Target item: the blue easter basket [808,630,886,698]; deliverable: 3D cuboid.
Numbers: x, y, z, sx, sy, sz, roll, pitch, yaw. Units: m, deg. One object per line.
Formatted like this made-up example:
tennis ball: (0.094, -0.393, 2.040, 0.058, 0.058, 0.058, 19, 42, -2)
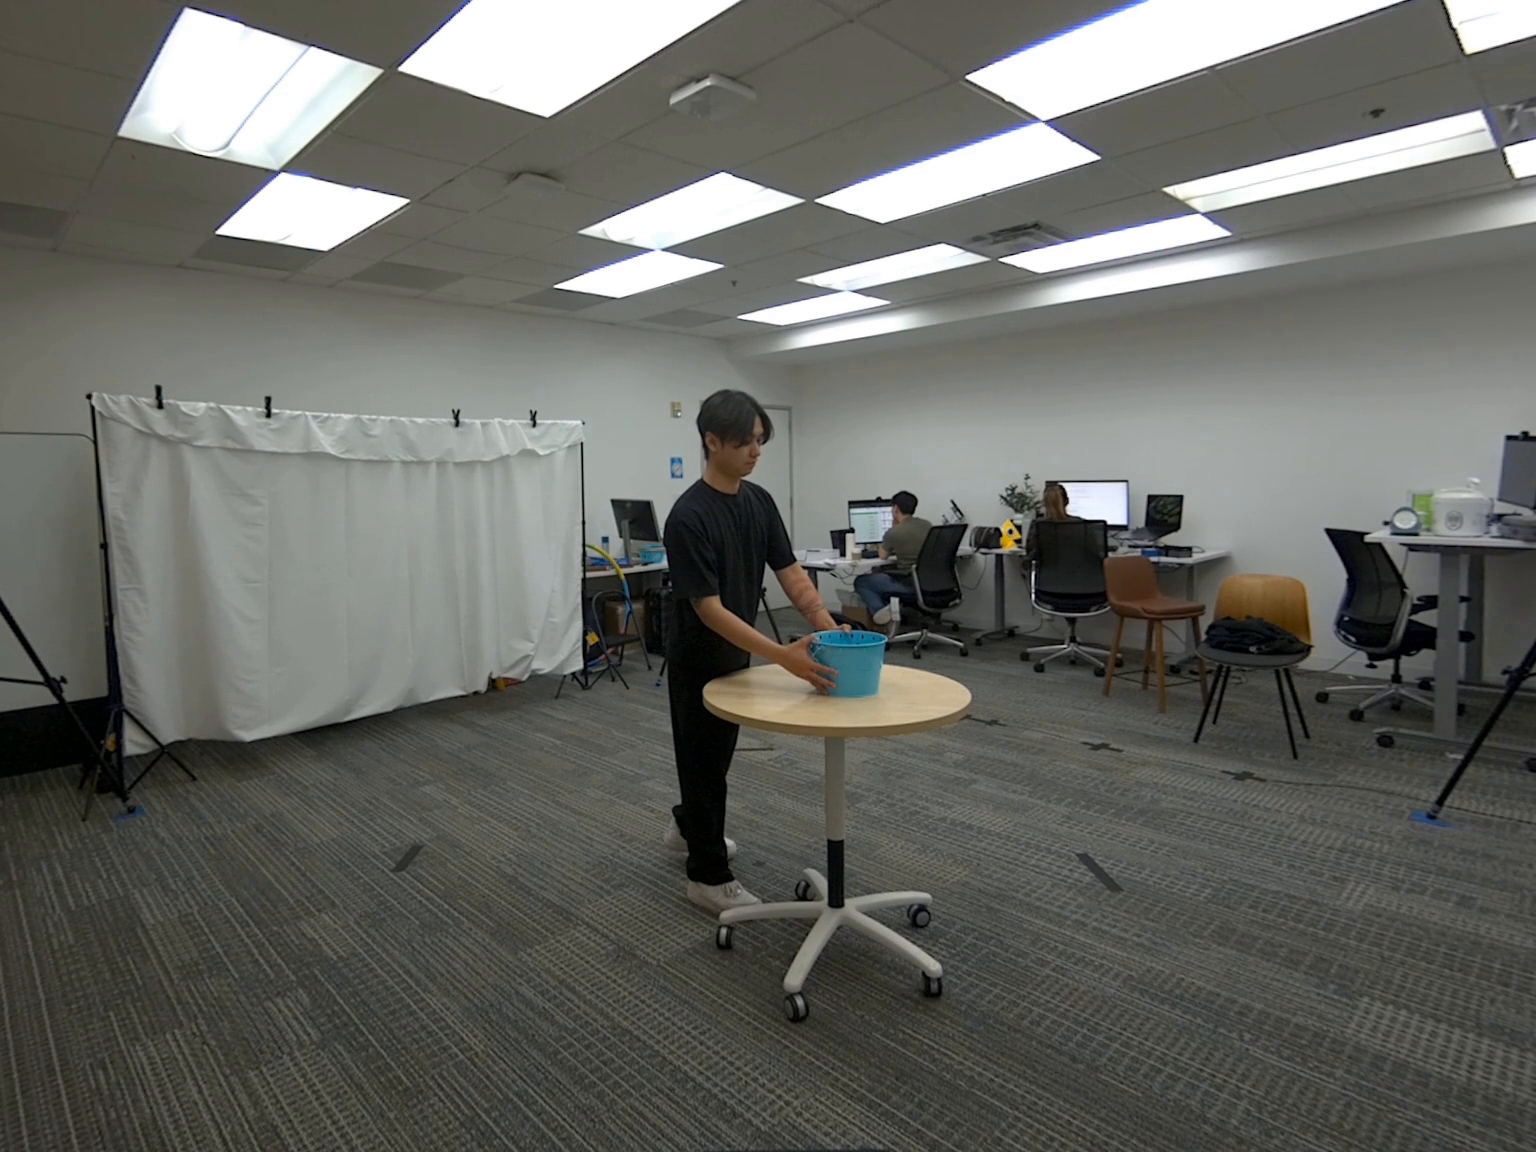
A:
blue easter basket: (0.230, 0.254, 2.467, 0.243, 0.155, 0.245, -1, 6, -2)
